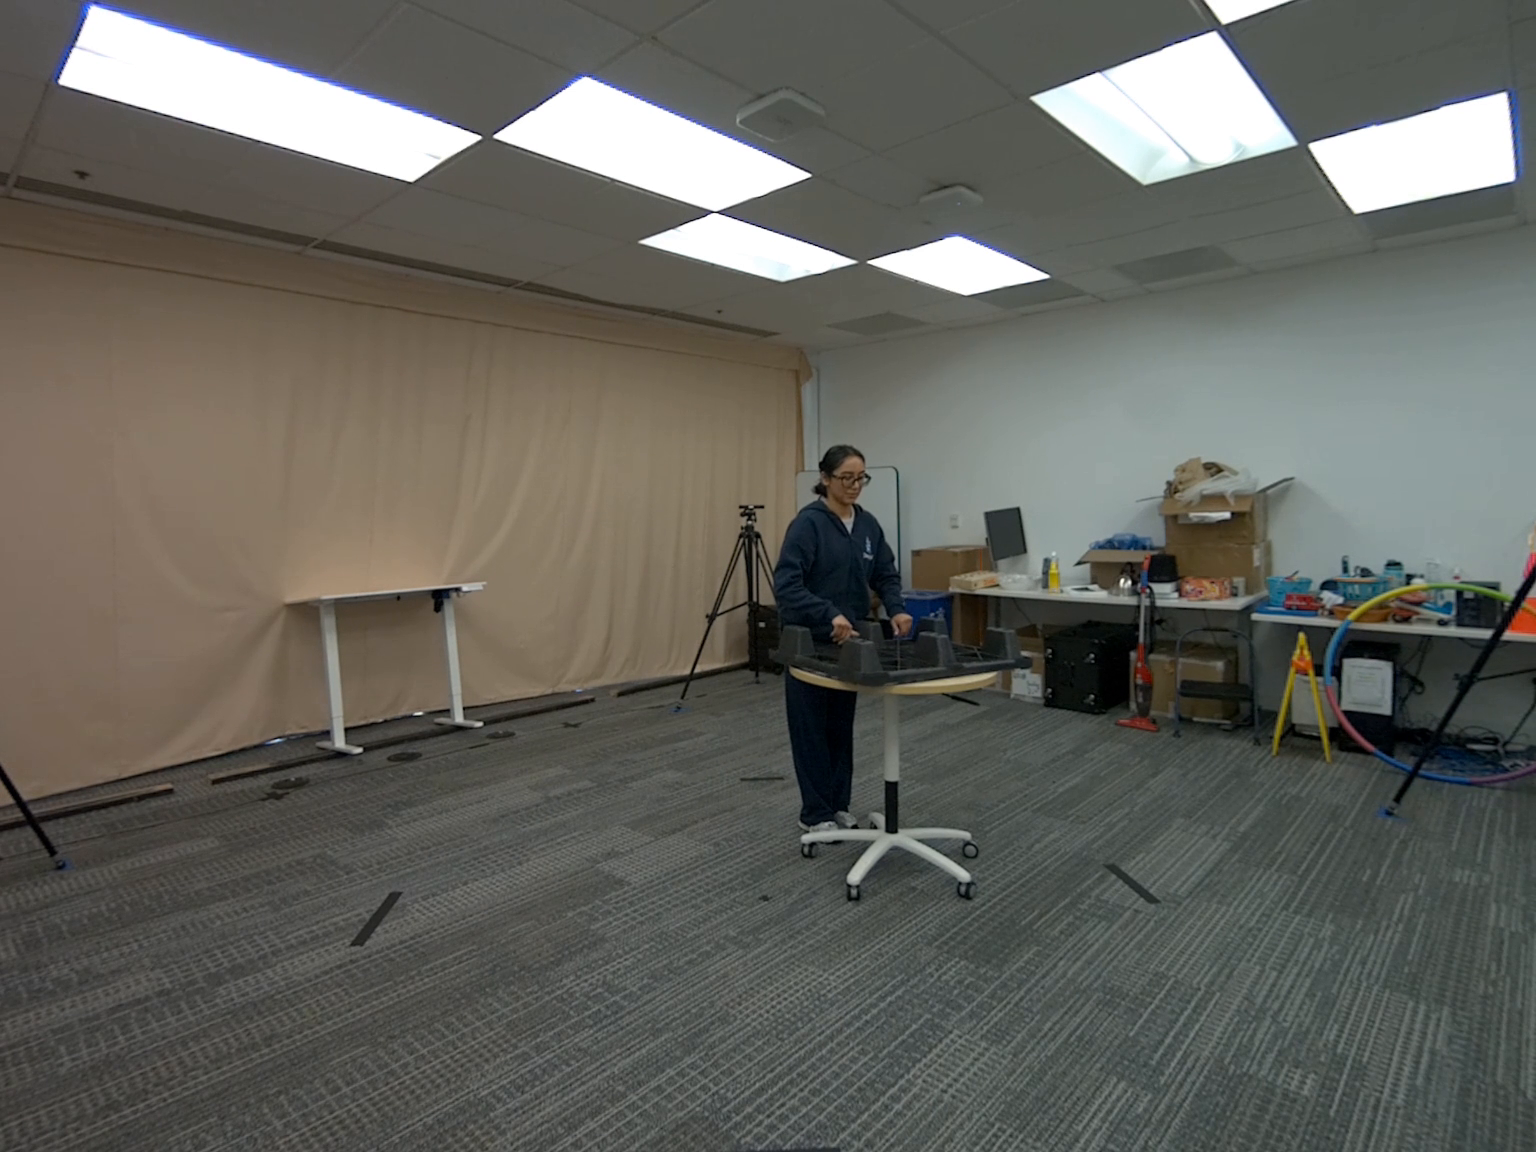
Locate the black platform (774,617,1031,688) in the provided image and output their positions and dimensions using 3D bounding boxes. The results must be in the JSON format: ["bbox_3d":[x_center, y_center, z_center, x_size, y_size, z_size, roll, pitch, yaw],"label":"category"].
[{"bbox_3d":[0.498,0.266,3.169,0.784,0.143,0.623,-2,5,-30],"label":"black platform"}]
